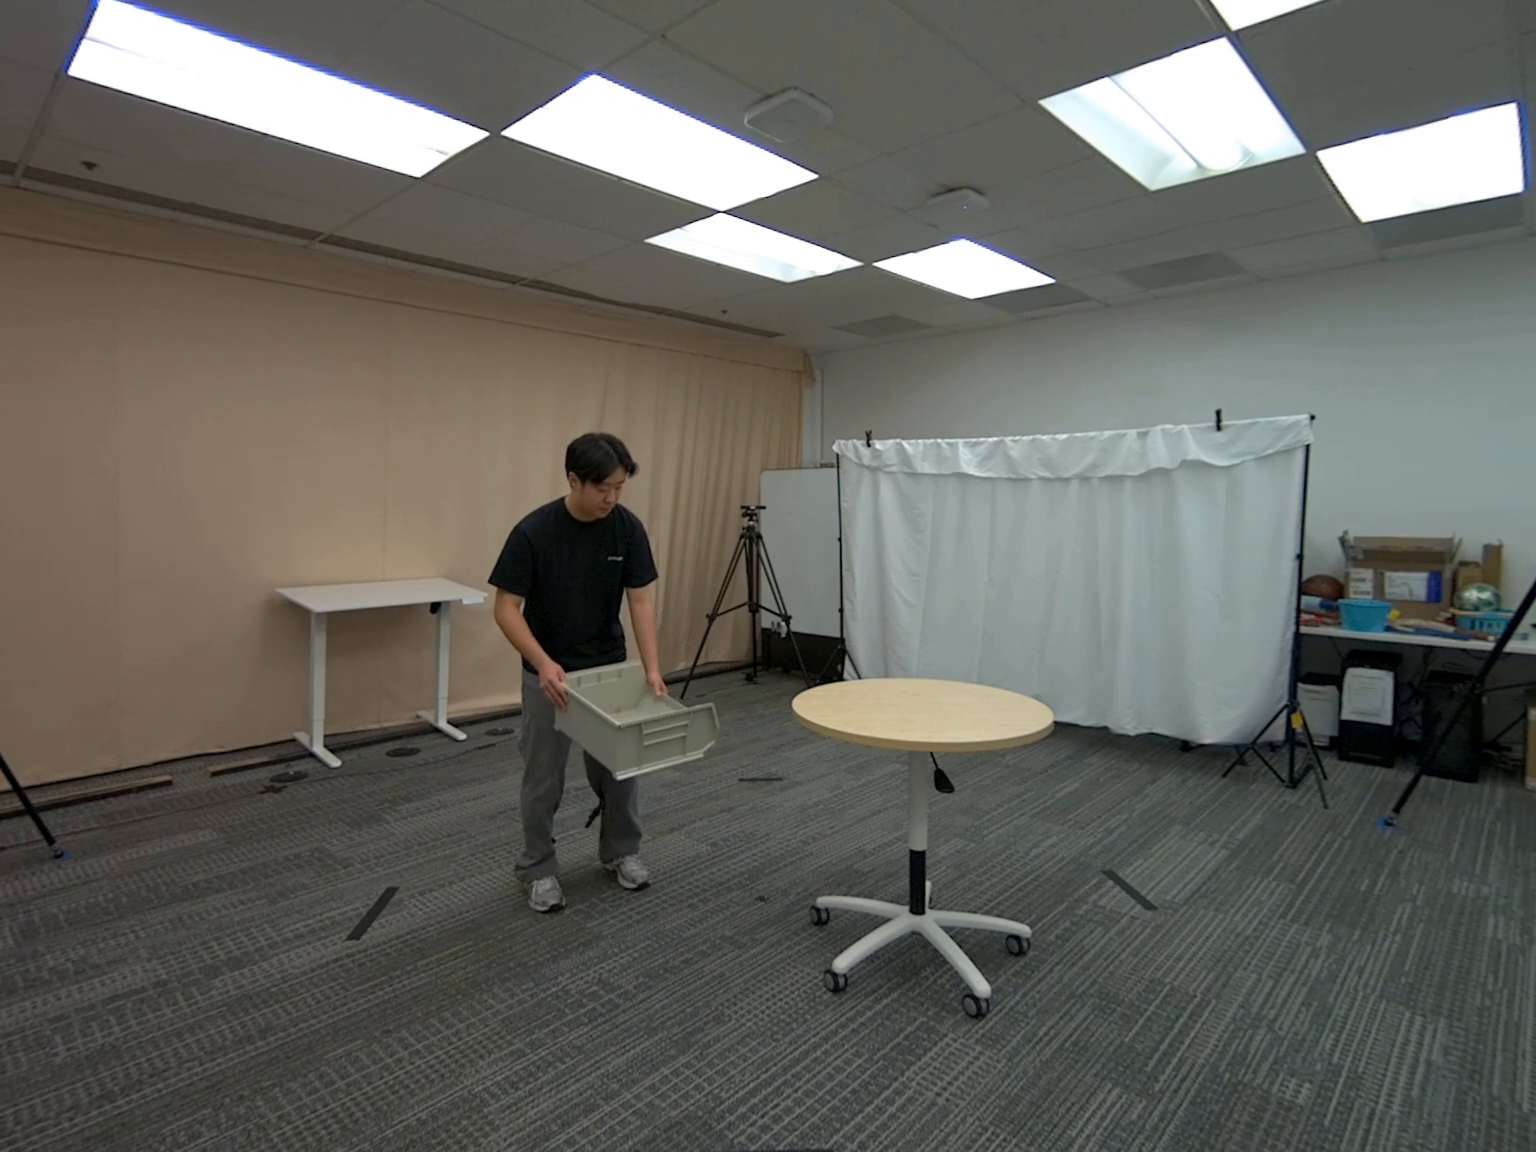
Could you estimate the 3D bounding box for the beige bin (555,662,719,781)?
[{"bbox_3d":[-0.427,0.446,2.681,0.367,0.187,0.438,-9,19,-37],"label":"beige bin"}]
